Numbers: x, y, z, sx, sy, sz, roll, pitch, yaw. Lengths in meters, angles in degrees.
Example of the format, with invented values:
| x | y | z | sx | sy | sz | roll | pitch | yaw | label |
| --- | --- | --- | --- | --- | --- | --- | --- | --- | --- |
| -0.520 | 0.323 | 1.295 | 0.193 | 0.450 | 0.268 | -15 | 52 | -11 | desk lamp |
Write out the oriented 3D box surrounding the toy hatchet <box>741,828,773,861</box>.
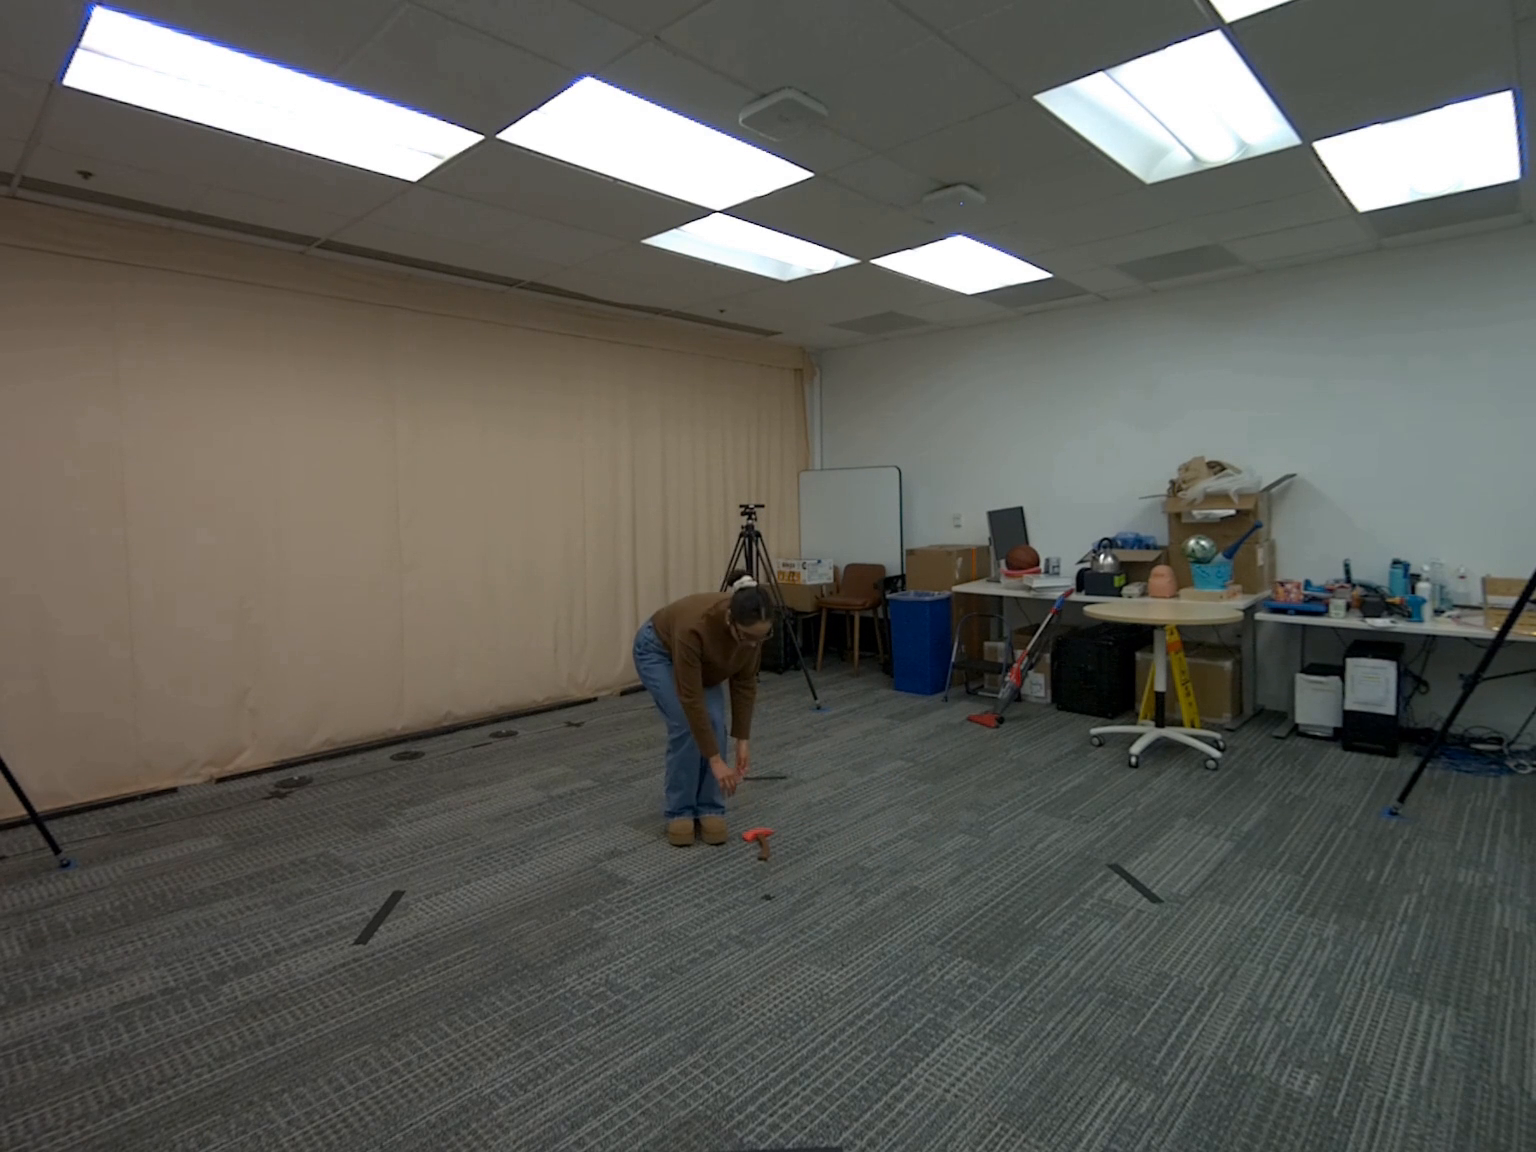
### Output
| x | y | z | sx | sy | sz | roll | pitch | yaw | label |
| --- | --- | --- | --- | --- | --- | --- | --- | --- | --- |
| -0.051 | 1.089 | 3.424 | 0.132 | 0.029 | 0.269 | -1 | 7 | 7 | toy hatchet |
